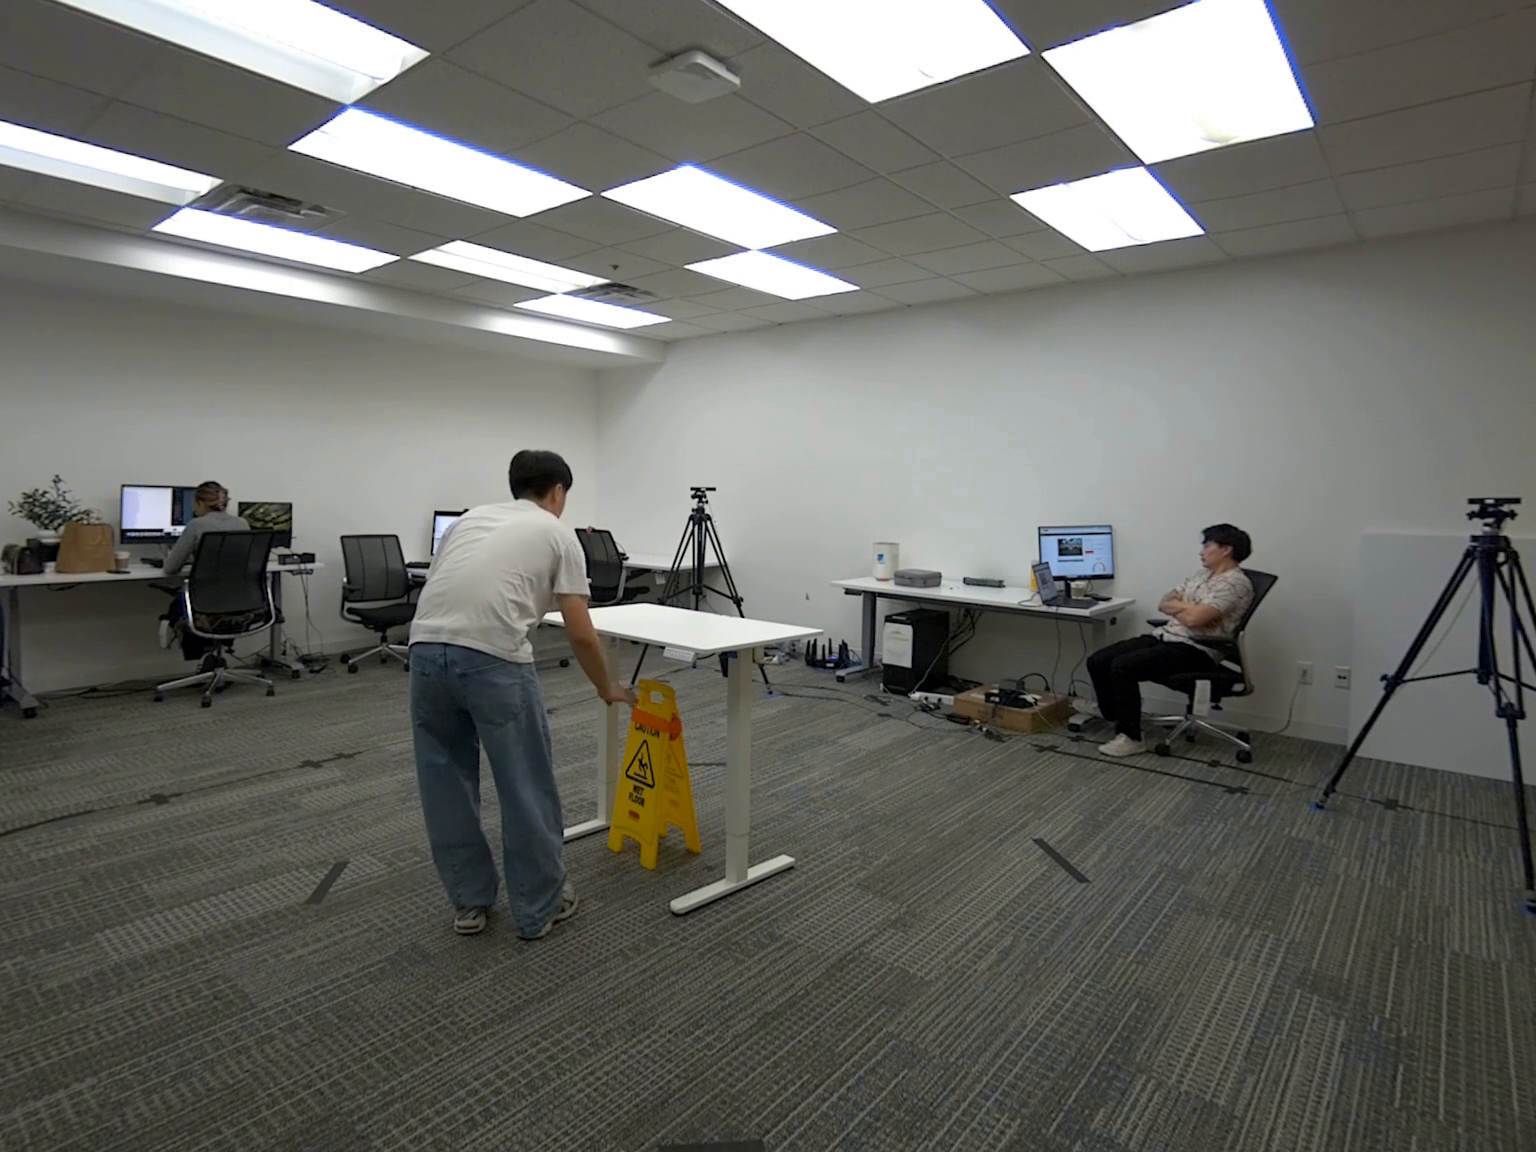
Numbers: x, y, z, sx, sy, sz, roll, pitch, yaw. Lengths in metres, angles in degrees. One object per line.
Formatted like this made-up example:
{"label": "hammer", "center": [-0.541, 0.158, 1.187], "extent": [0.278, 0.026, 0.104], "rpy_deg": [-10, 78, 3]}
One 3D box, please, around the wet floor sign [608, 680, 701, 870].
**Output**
{"label": "wet floor sign", "center": [-0.440, 0.722, 3.243], "extent": [0.281, 0.644, 0.292], "rpy_deg": [-1, 4, -44]}
